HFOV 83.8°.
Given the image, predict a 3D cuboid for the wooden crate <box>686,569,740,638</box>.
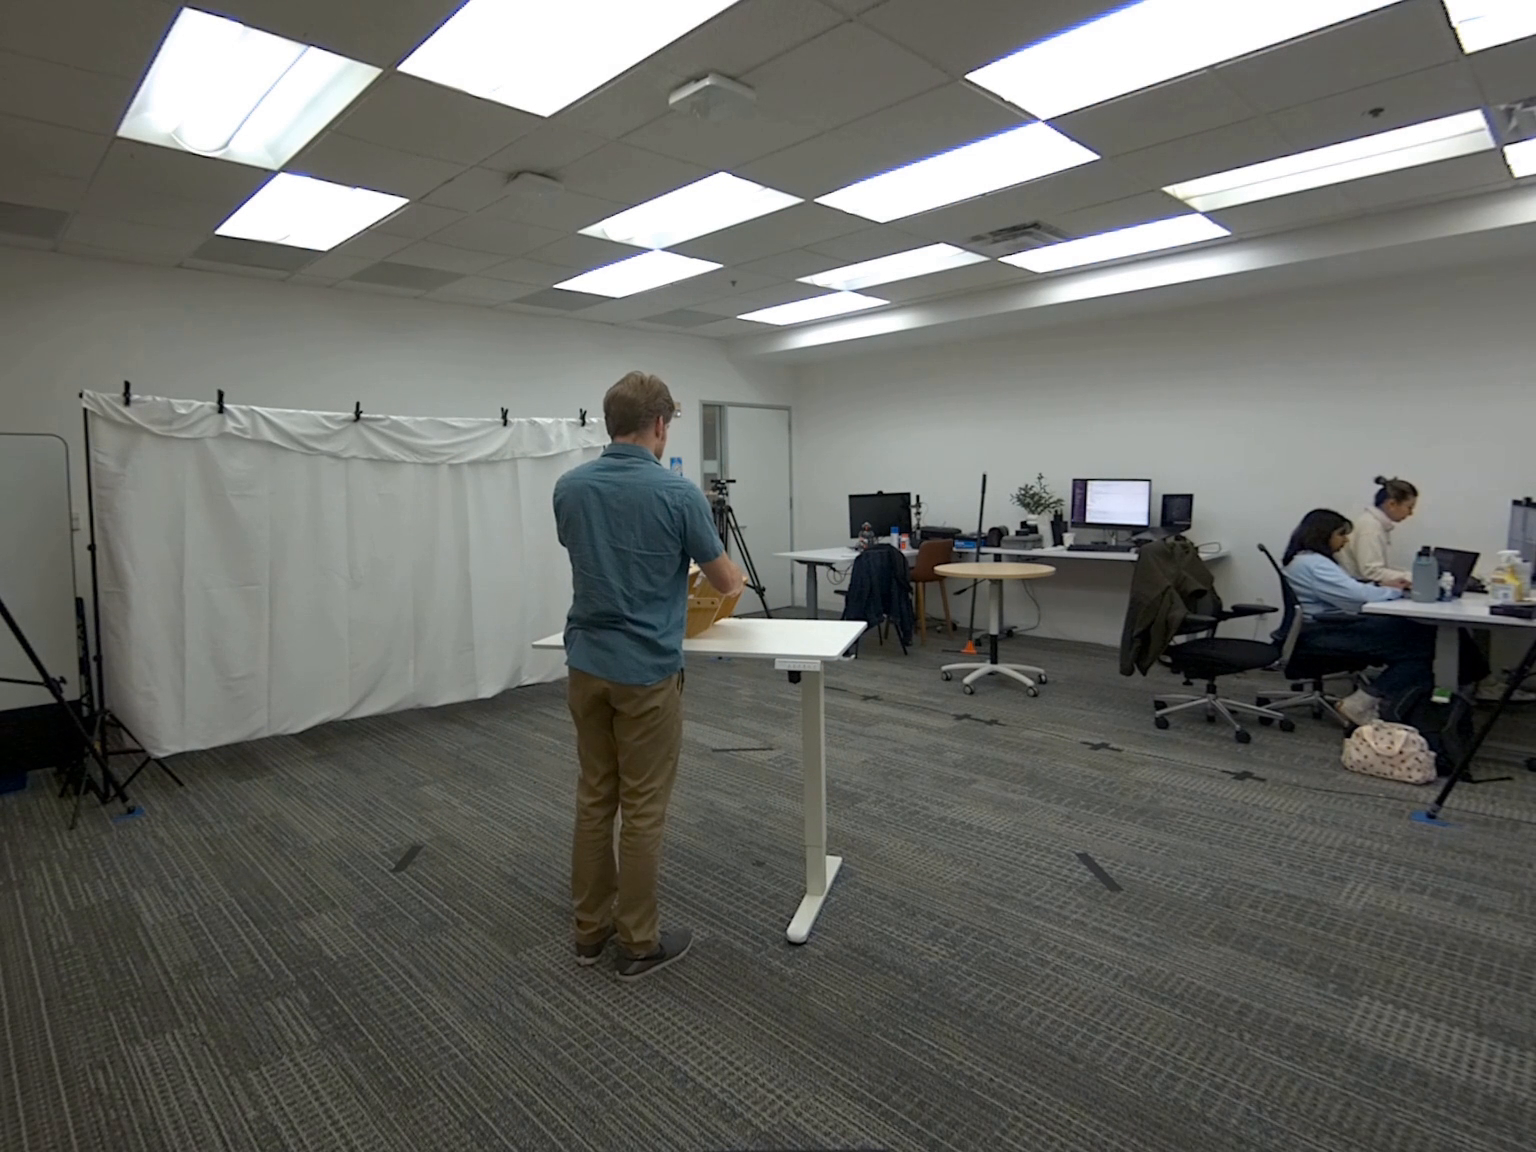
[{"bbox_3d":[-0.263,0.098,2.934,0.277,0.300,0.322,26,11,9],"label":"wooden crate"}]
